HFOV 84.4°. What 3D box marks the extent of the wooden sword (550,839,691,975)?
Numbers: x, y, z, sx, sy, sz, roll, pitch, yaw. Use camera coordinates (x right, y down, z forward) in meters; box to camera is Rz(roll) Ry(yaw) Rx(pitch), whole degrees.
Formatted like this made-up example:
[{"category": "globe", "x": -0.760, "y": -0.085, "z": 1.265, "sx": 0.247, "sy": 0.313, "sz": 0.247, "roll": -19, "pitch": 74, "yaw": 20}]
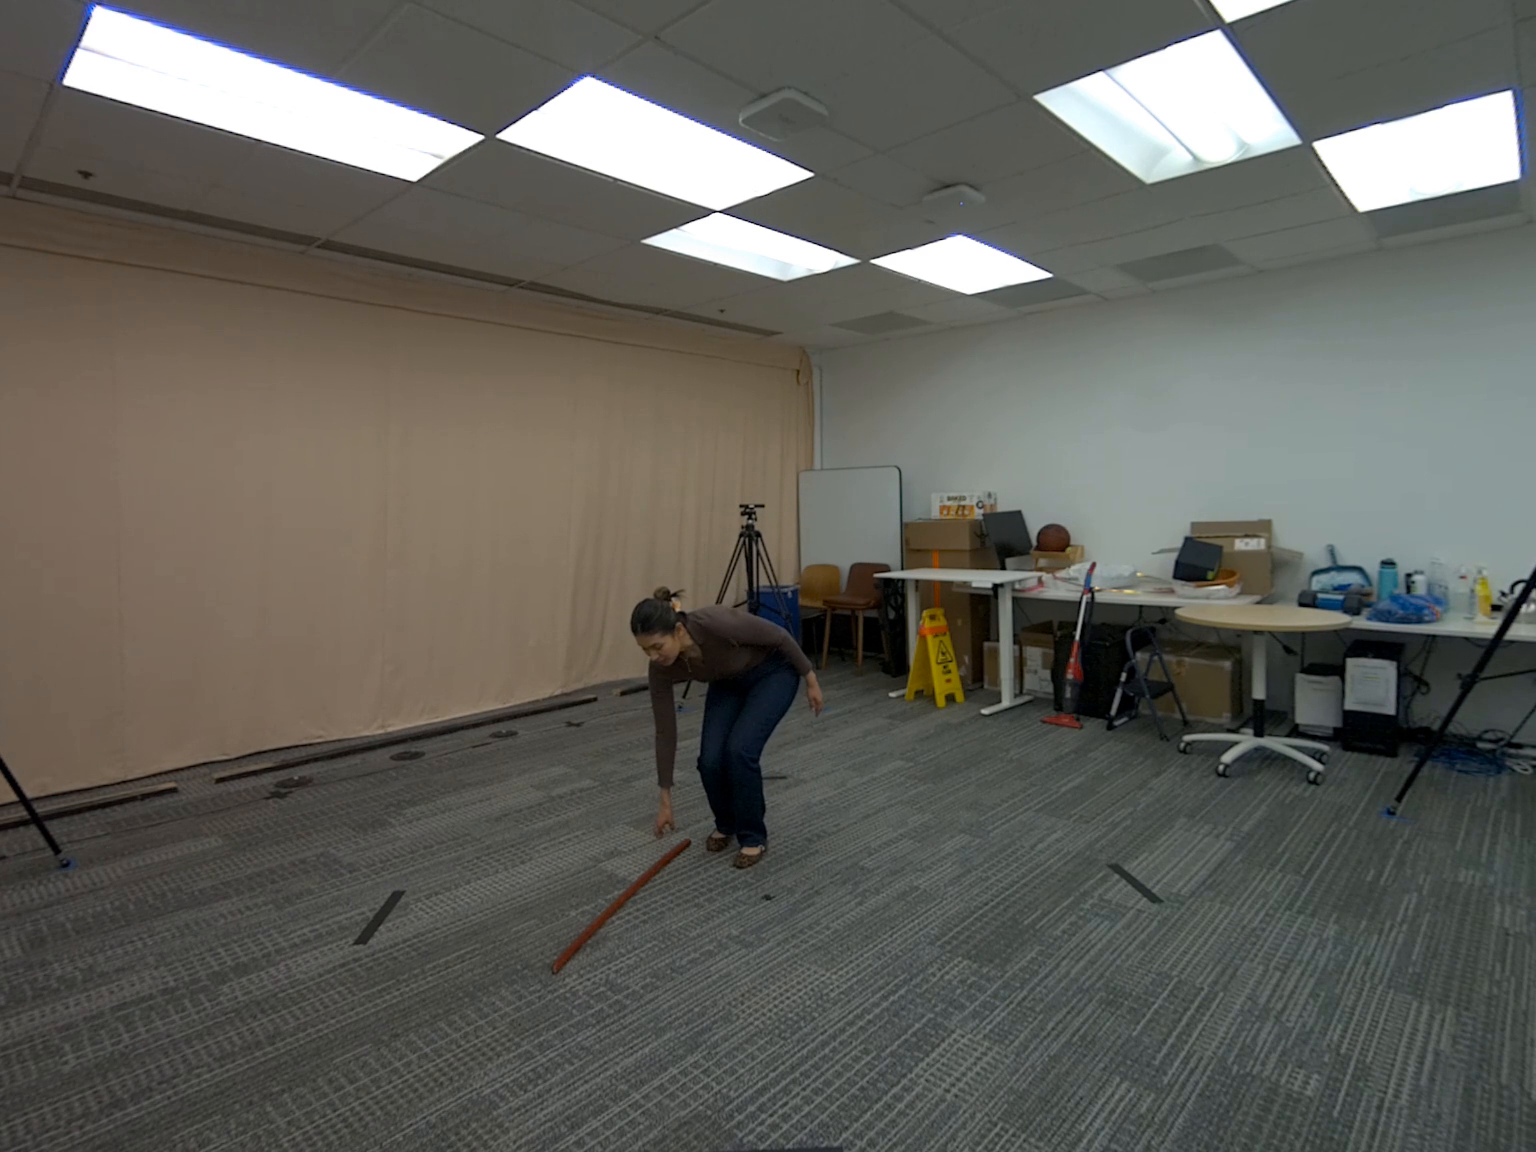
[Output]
[{"category": "wooden sword", "x": -0.491, "y": 1.114, "z": 3.007, "sx": 0.052, "sy": 0.024, "sz": 1.007, "roll": 9, "pitch": 8, "yaw": 16}]
